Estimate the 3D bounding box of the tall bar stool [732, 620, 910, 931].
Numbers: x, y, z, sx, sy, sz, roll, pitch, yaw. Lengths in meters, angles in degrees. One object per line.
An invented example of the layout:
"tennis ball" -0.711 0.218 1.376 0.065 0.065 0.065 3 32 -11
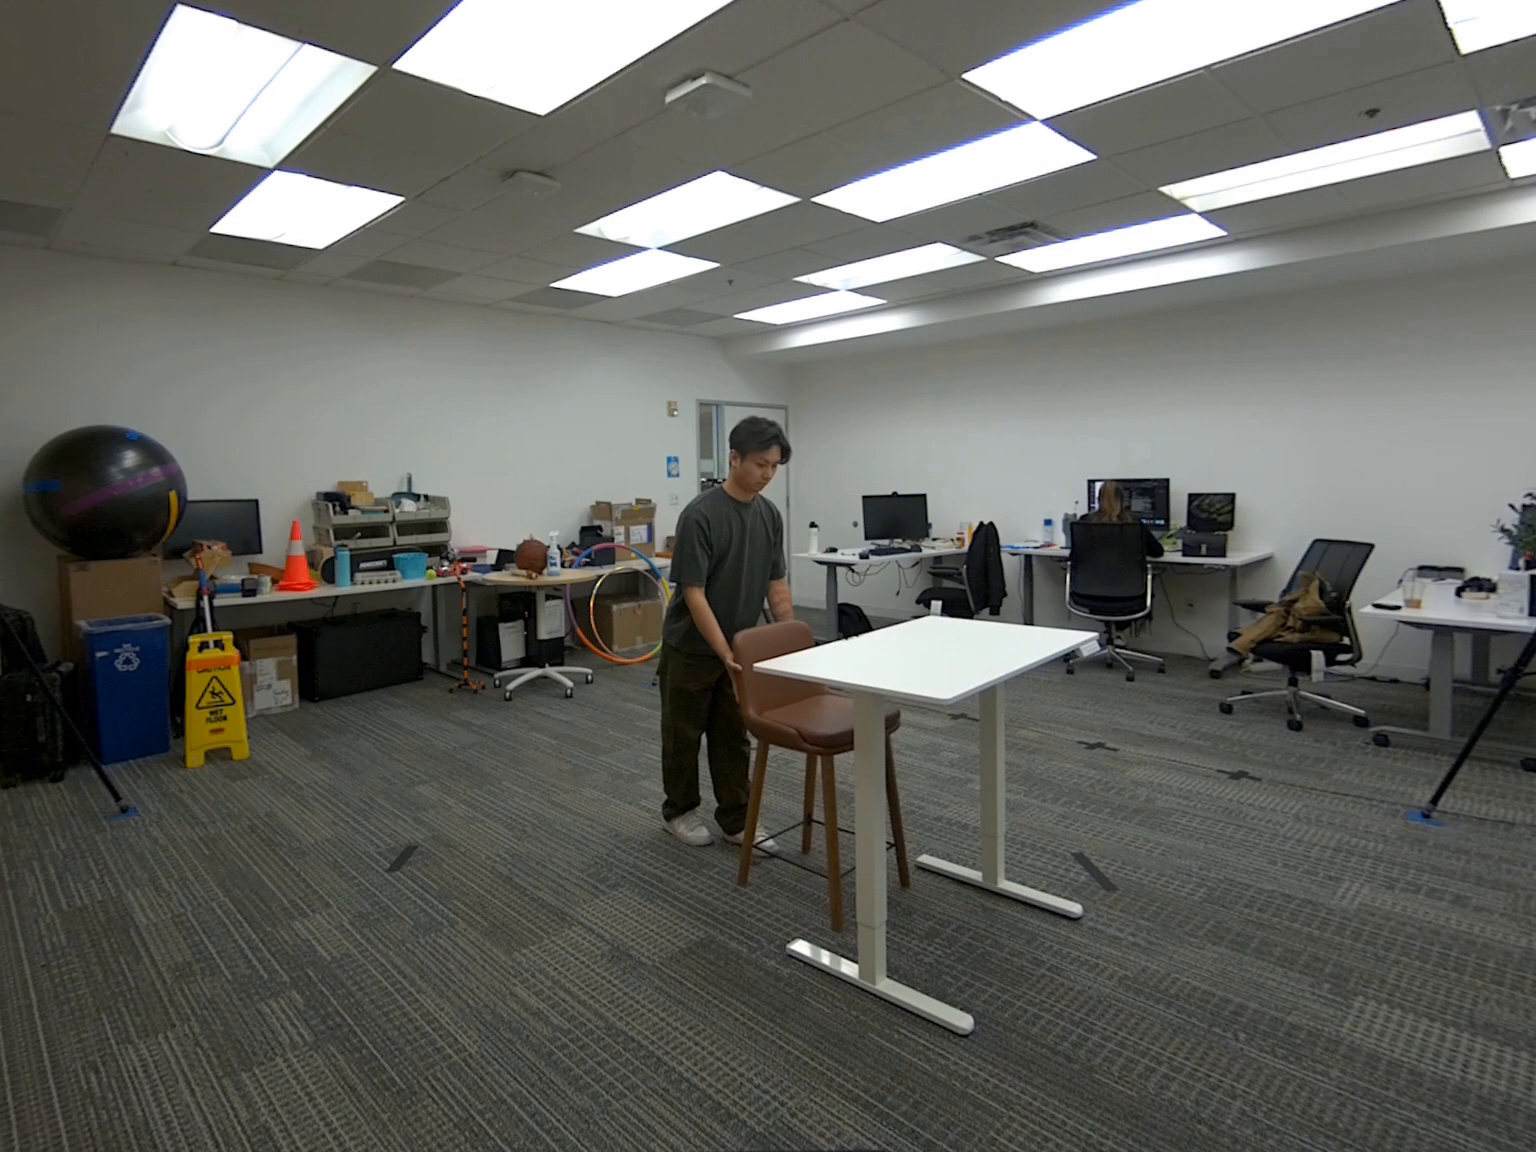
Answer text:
"tall bar stool" 0.173 0.622 2.902 0.481 0.887 0.444 0 4 44
